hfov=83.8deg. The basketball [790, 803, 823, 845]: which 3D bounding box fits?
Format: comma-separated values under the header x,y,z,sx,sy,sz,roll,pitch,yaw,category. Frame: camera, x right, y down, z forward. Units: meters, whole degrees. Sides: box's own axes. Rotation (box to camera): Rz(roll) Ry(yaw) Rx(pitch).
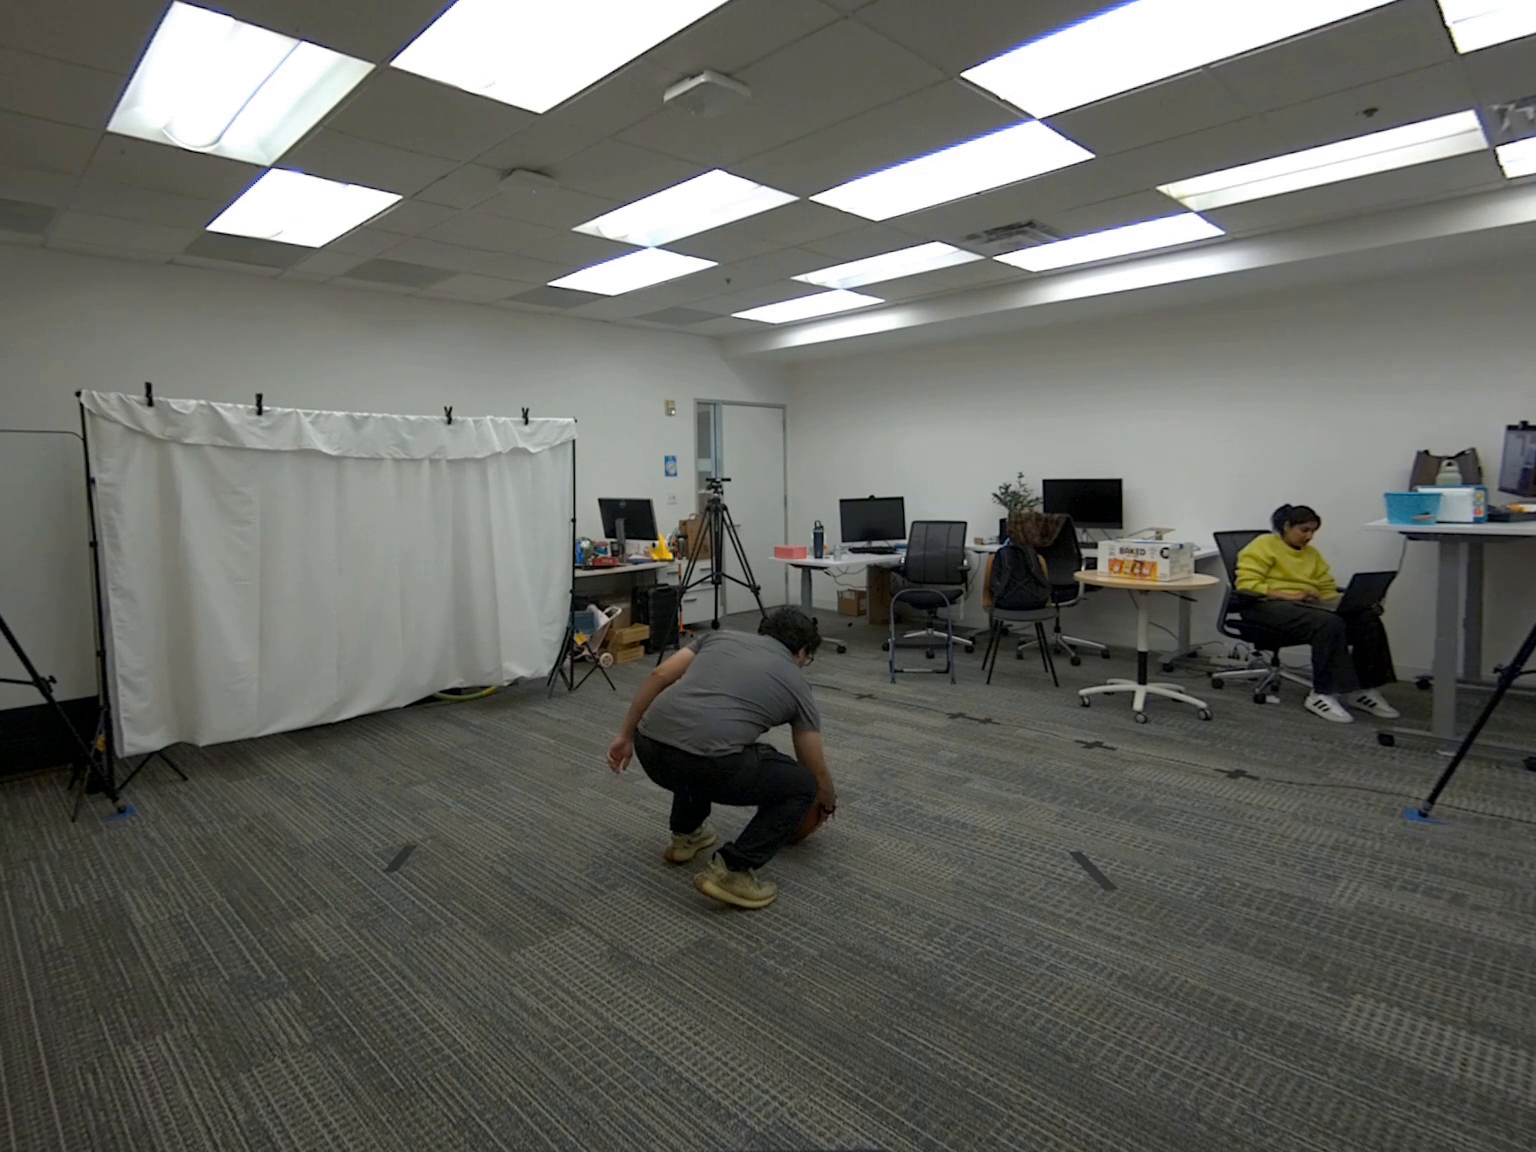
x,y,z,sx,sy,sz,roll,pitch,yaw,category
0.080,0.900,3.290,0.236,0.235,0.237,-1,5,-2,basketball
